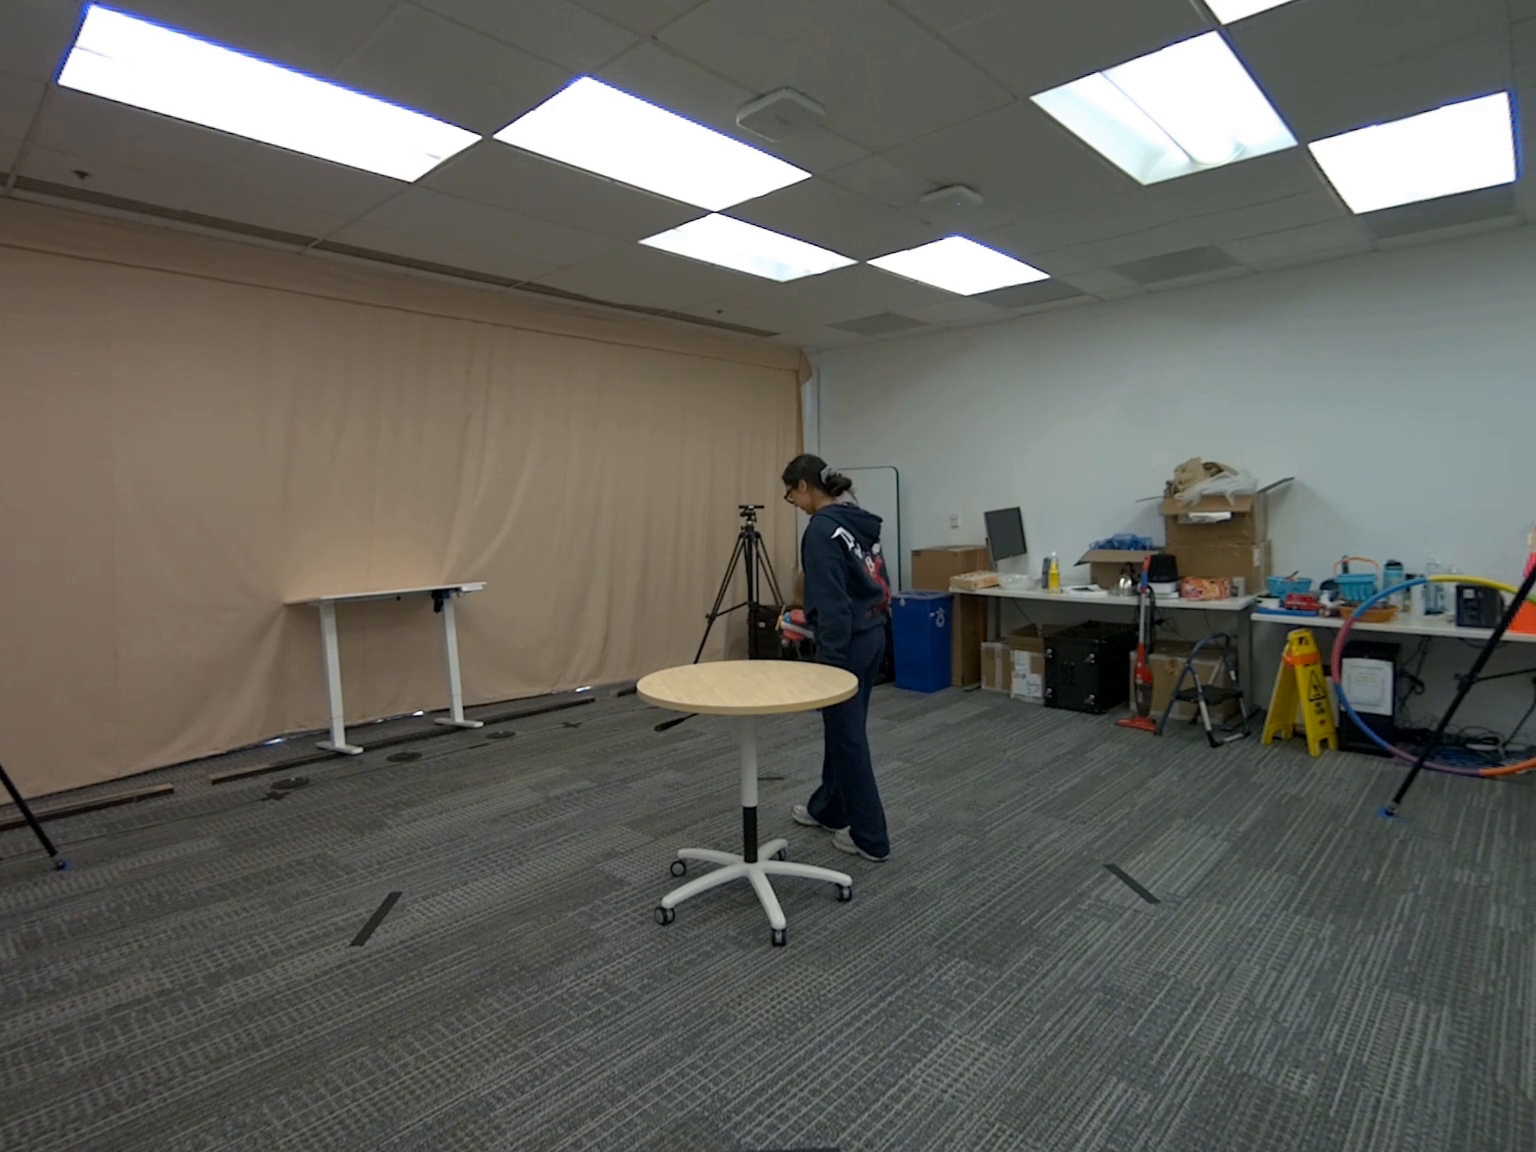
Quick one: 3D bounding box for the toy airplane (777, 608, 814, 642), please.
[{"bbox_3d":[0.172,0.239,3.745,0.255,0.156,0.256,3,6,-15],"label":"toy airplane"}]
